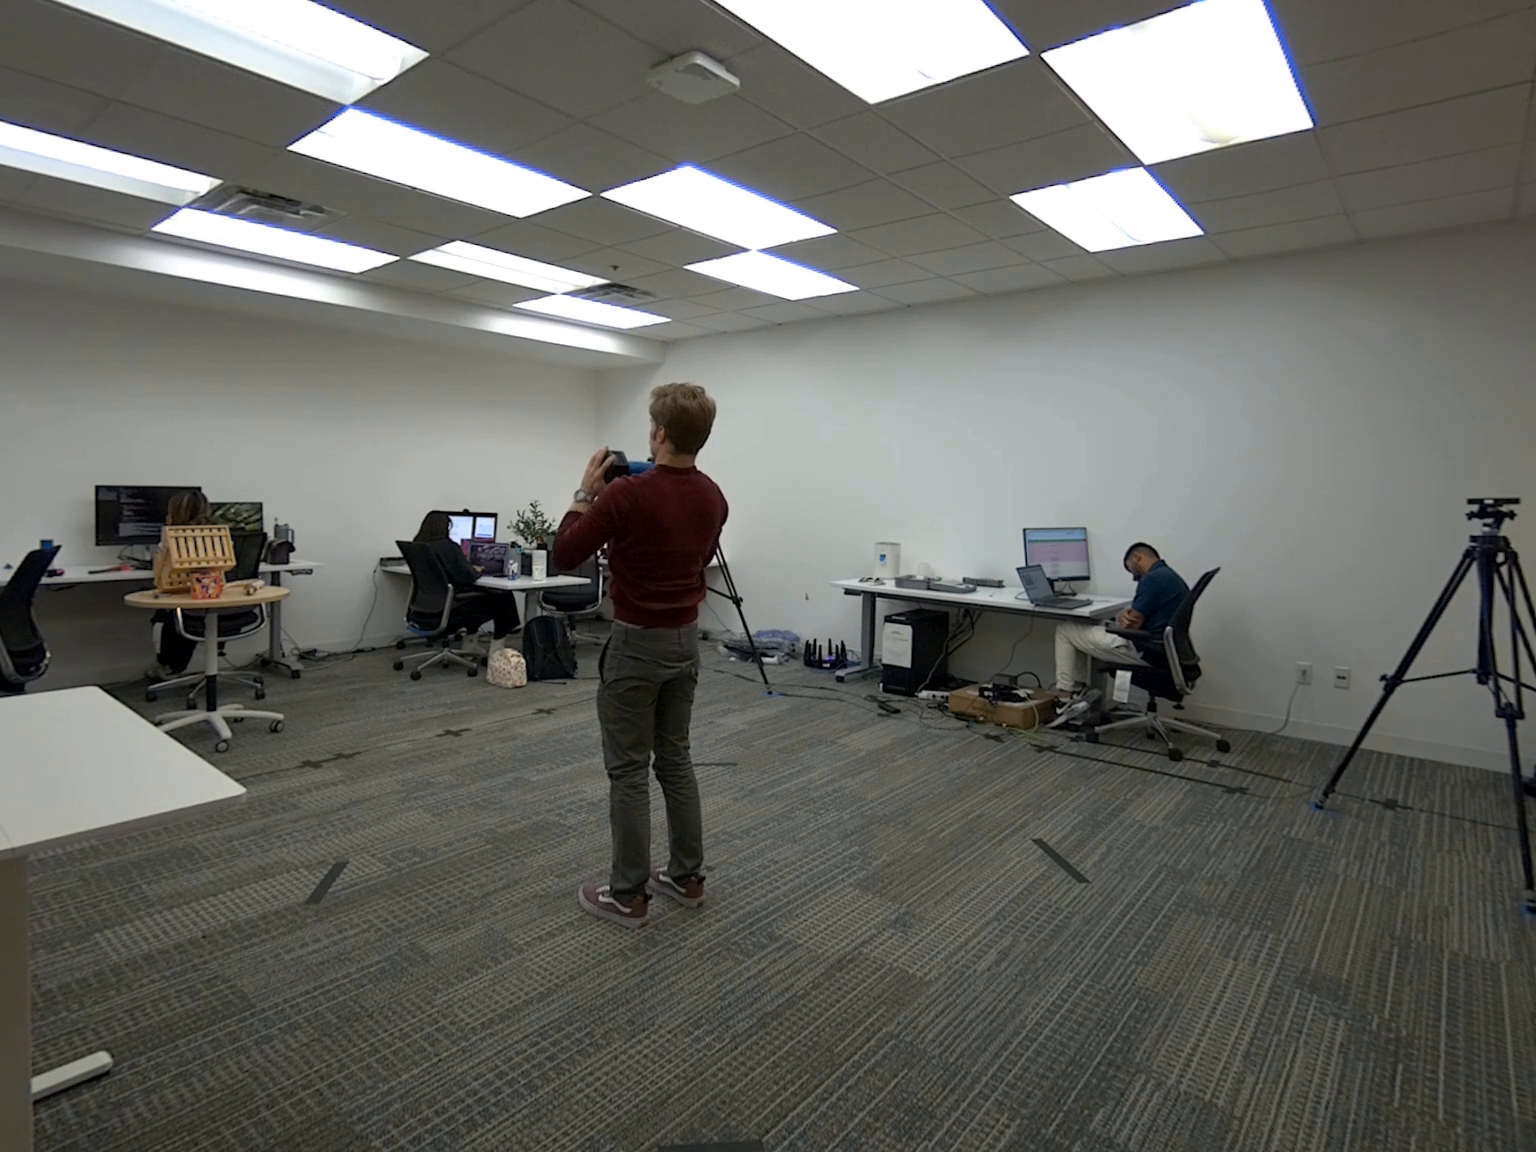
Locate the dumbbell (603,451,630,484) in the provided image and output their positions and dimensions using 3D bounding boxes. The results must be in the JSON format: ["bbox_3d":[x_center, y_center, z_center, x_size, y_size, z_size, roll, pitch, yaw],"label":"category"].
[{"bbox_3d":[-0.446,-0.376,2.851,0.284,0.122,0.113,1,29,-44],"label":"dumbbell"}]
